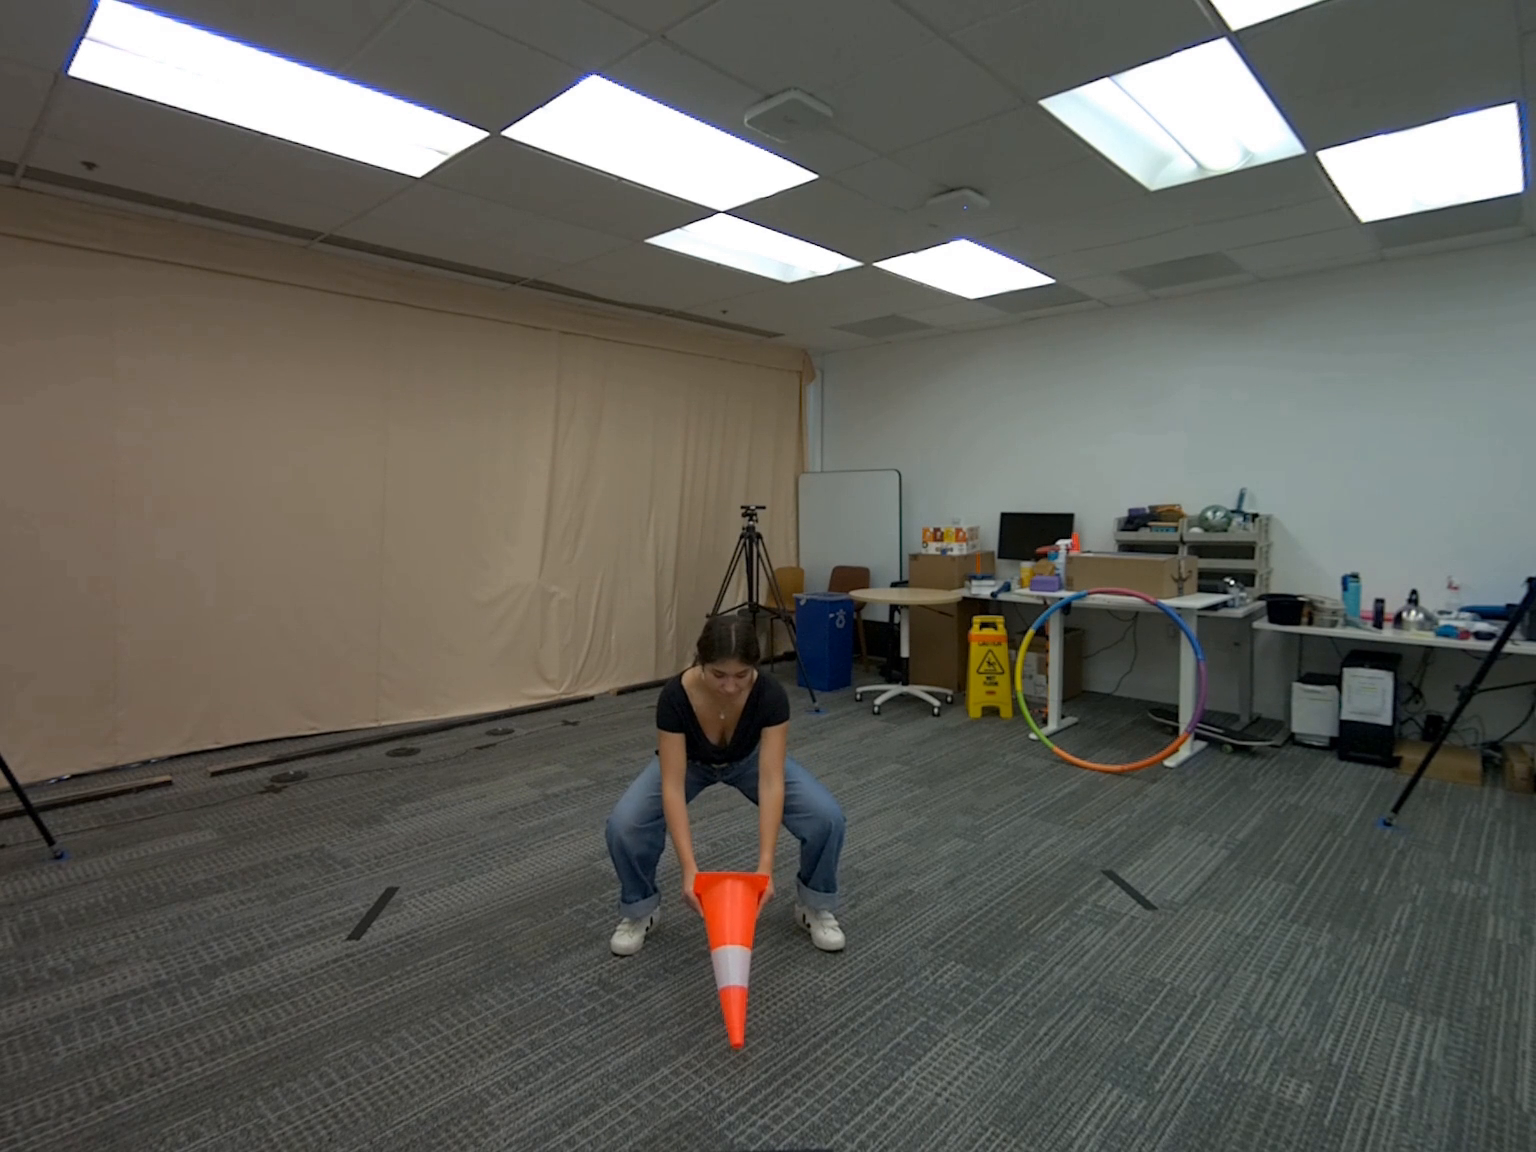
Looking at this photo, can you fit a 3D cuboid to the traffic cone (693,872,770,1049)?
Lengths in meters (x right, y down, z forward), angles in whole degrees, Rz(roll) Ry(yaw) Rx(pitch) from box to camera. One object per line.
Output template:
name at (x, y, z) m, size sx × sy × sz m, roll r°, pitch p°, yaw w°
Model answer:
traffic cone at (-0.086, 0.966, 2.129) m, size 0.201 × 0.202 × 0.392 m, roll 4°, pitch 42°, yaw -10°
